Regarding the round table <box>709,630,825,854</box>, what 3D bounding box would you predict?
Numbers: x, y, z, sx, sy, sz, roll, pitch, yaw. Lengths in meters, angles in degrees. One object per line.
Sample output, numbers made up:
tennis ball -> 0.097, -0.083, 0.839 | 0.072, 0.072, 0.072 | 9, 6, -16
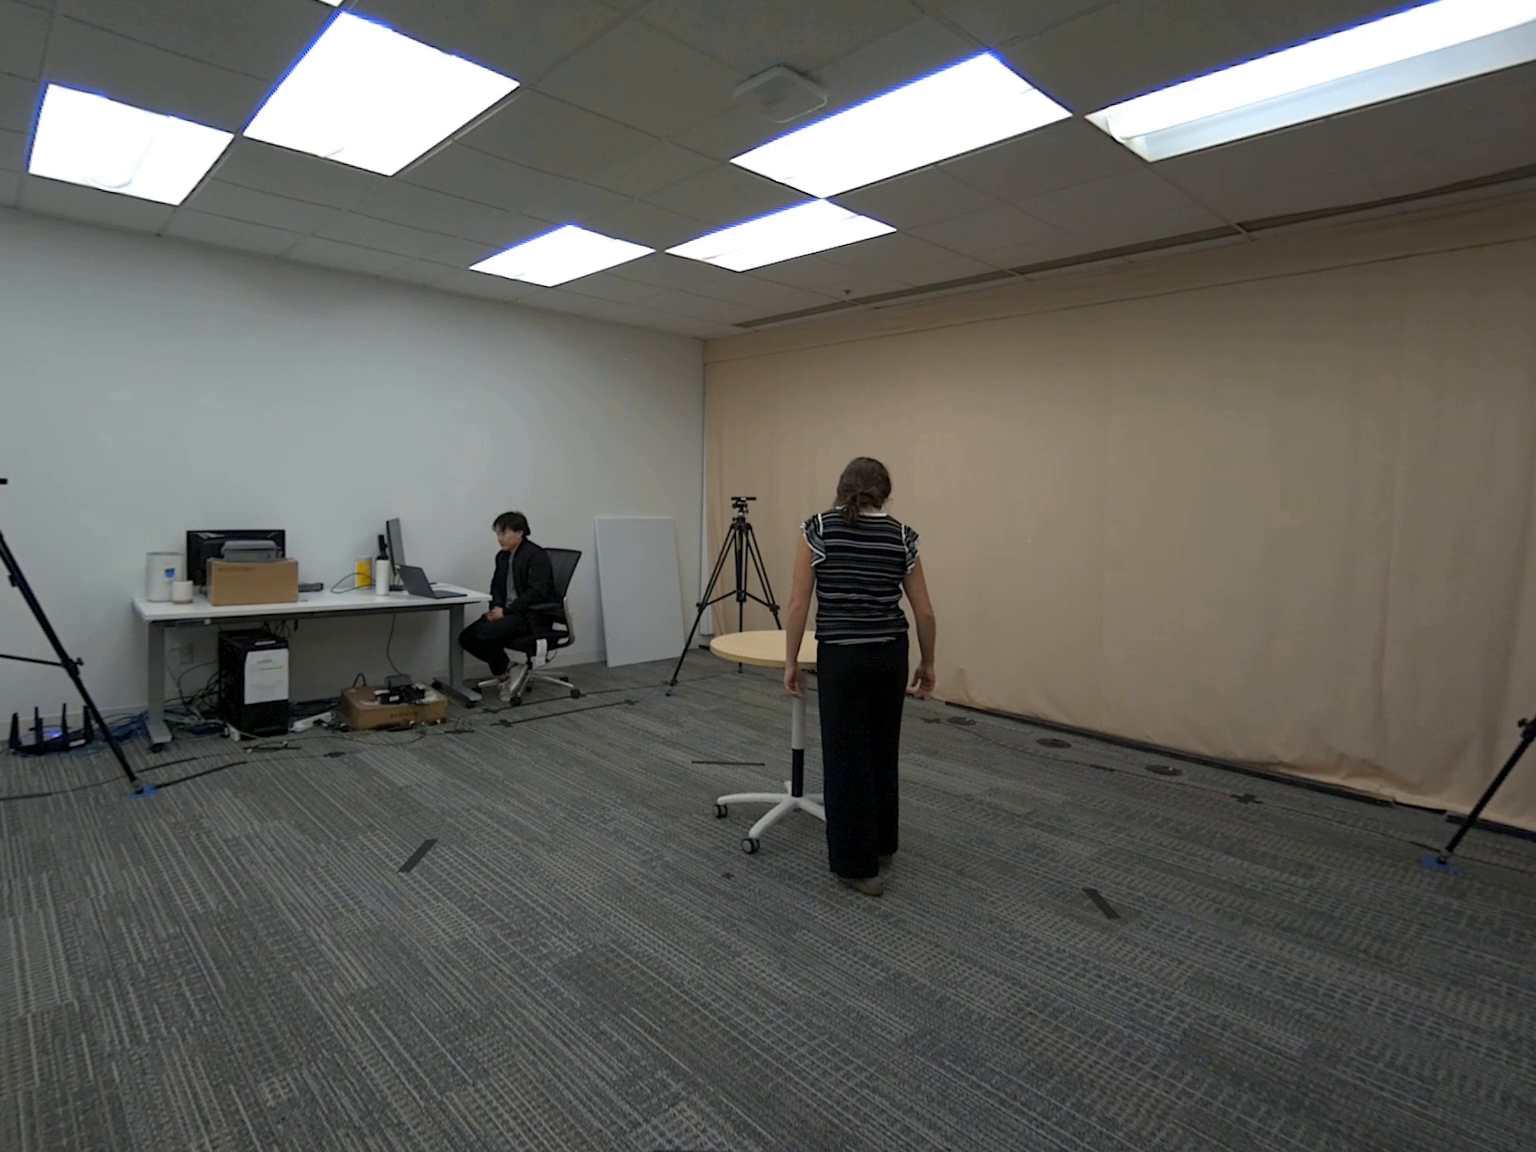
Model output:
round table -> 0.122, 0.679, 3.576 | 0.784, 0.784, 0.788 | 2, 4, -1
